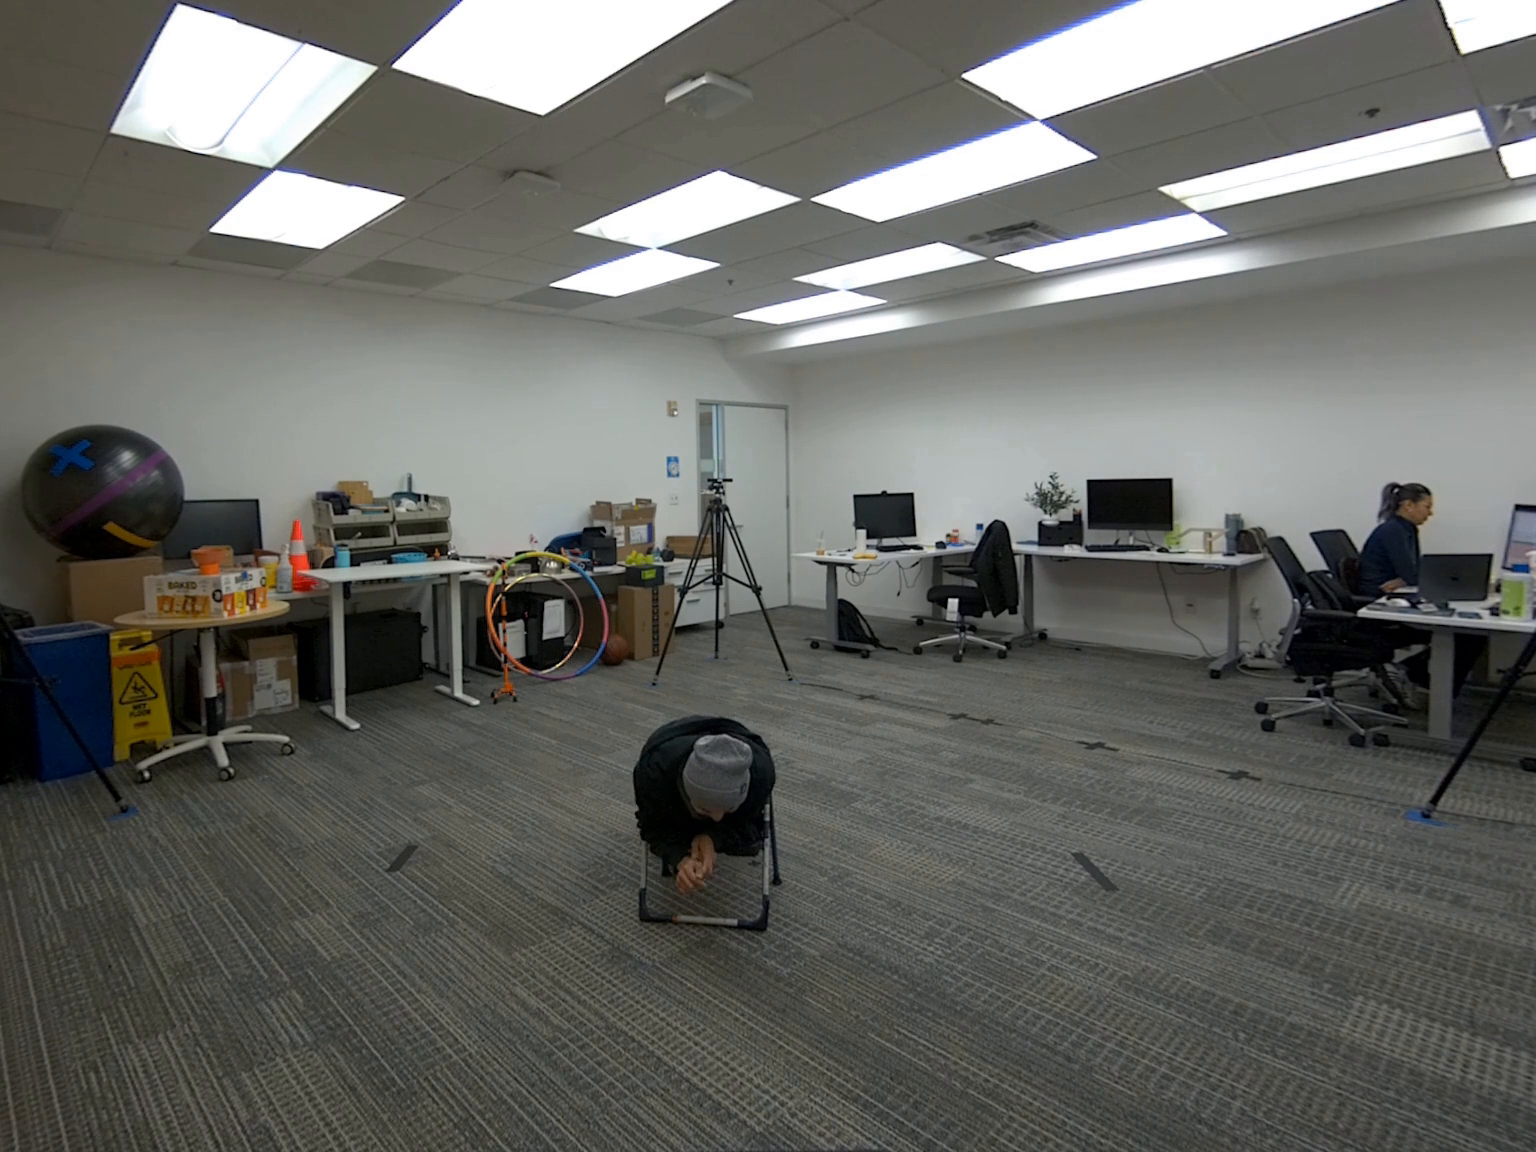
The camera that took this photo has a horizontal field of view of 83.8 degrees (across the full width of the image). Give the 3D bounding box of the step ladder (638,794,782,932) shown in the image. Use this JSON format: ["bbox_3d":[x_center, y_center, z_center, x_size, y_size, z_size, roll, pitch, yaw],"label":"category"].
[{"bbox_3d":[-0.177,0.782,2.815,0.433,0.605,0.348,-1,2,5],"label":"step ladder"}]
